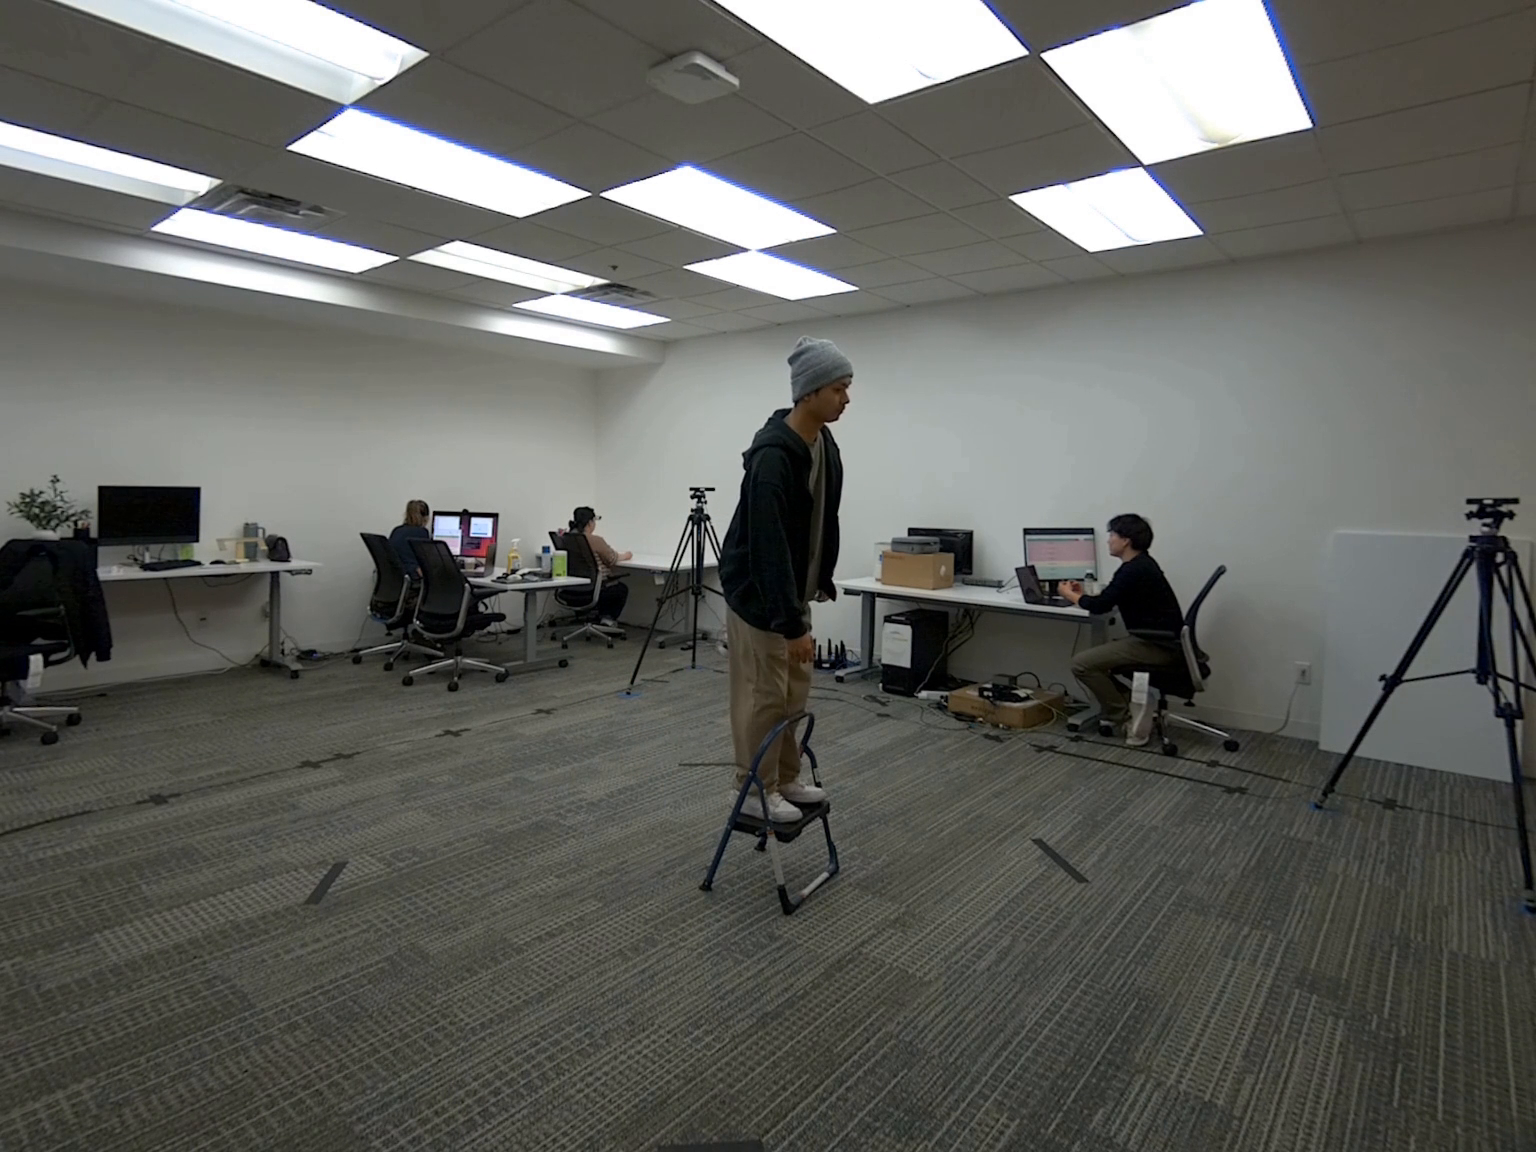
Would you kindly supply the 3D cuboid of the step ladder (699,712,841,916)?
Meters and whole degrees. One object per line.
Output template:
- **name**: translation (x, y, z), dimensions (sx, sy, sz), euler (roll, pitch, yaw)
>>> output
- **step ladder**: translation (0.014, 0.778, 3.015), dimensions (0.359, 0.604, 0.420), euler (4, 4, 29)
